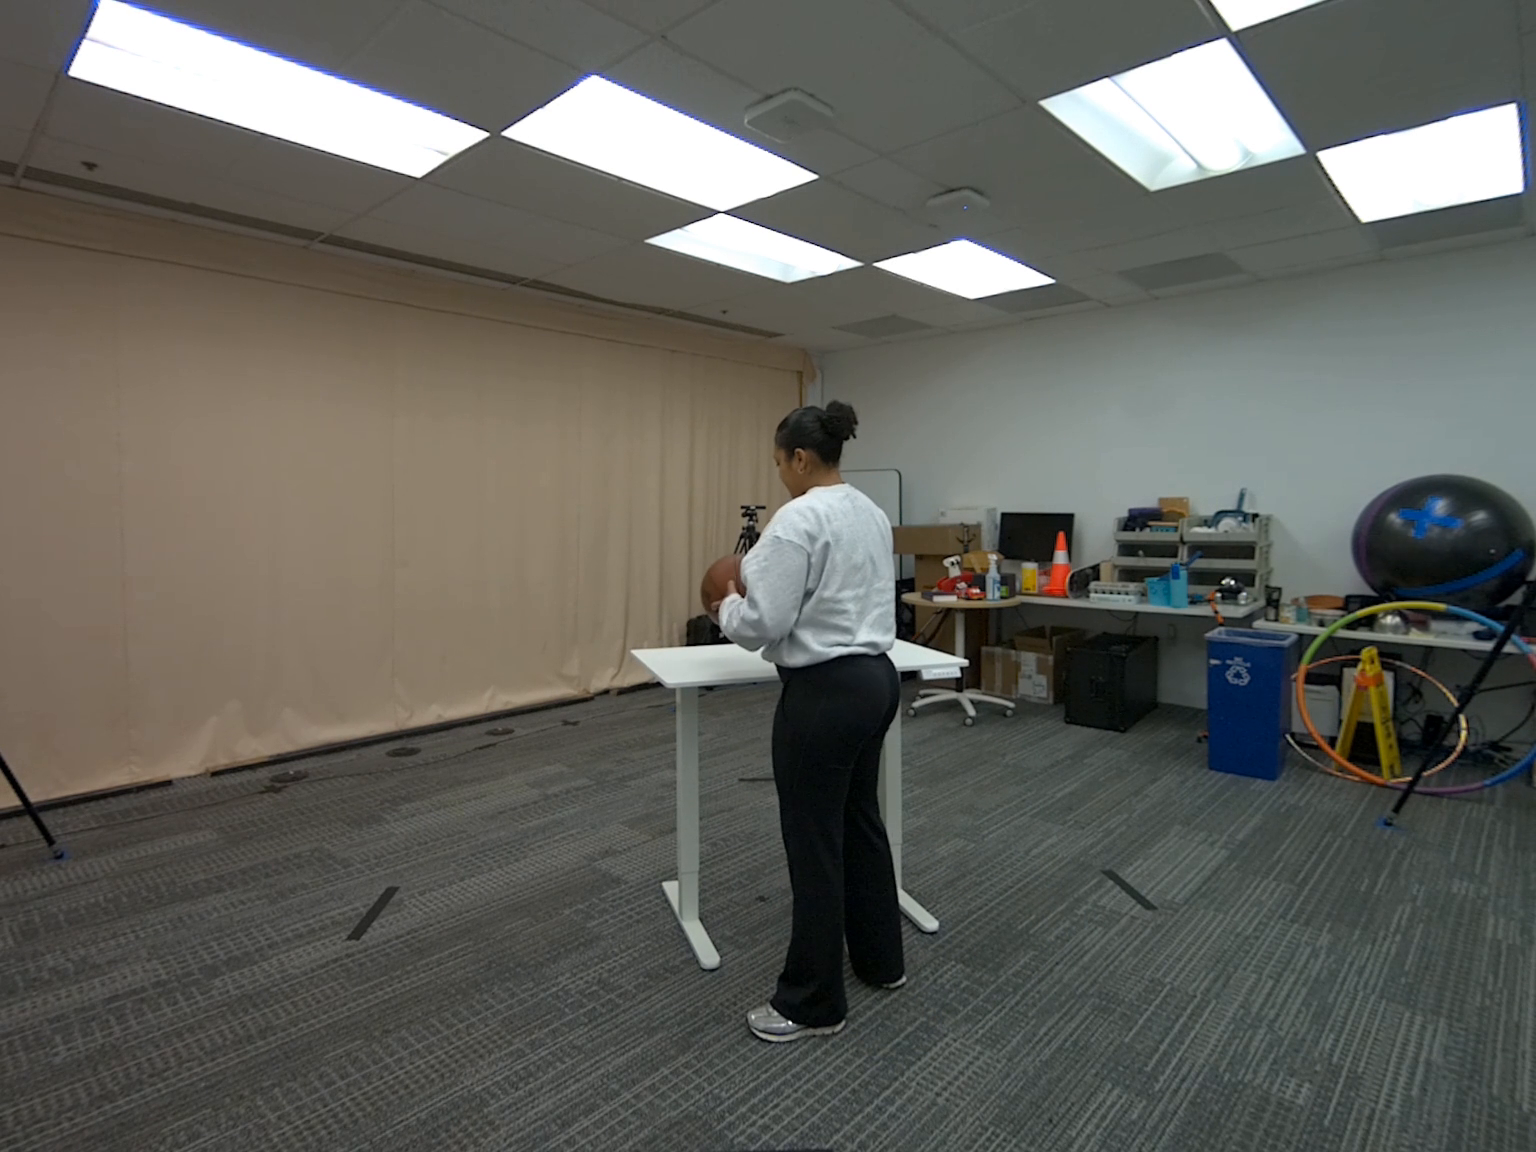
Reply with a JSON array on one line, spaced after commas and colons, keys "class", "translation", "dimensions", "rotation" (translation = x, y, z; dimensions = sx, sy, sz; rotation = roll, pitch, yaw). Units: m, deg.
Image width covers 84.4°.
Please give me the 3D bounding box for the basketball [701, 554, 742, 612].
[{"class": "basketball", "translation": [-0.077, 0.065, 2.569], "dimensions": [0.236, 0.235, 0.237], "rotation": [0, 4, -2]}]
